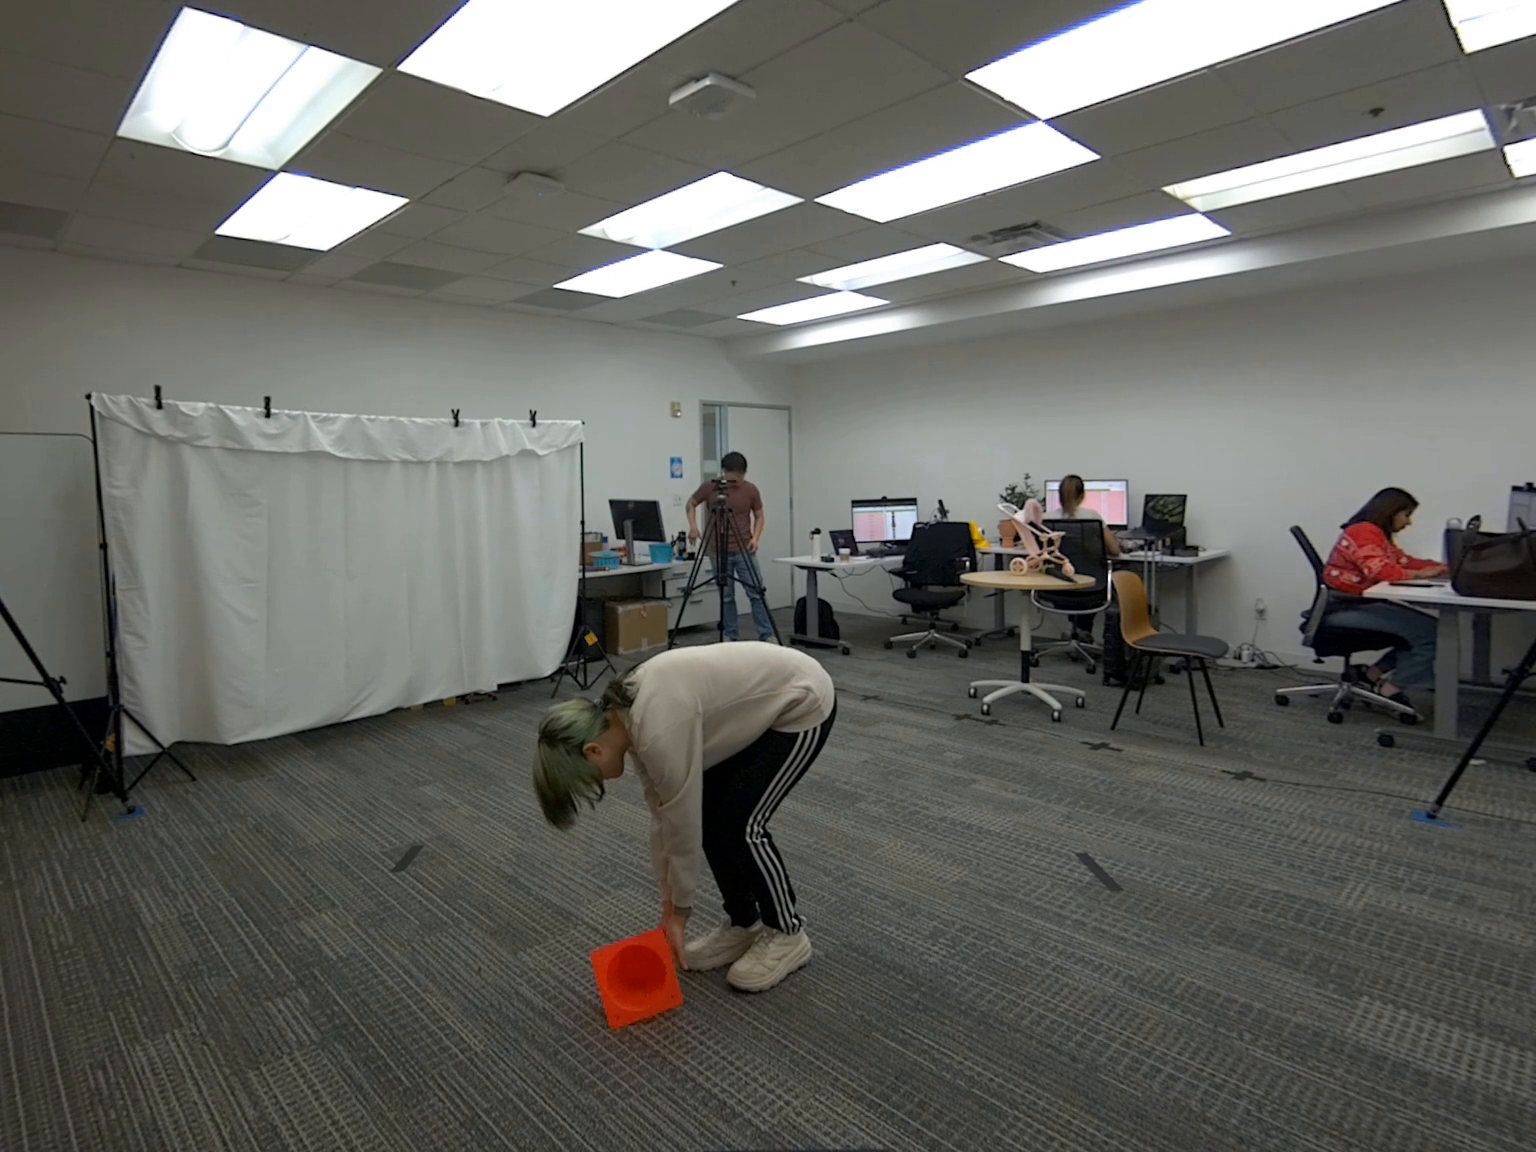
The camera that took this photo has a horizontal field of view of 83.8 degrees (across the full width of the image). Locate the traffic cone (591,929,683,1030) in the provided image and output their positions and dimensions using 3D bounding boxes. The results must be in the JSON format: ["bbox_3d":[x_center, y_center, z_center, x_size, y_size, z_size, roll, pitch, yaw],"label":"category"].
[{"bbox_3d":[-0.360,1.087,2.398,0.203,0.206,0.381,-15,-11,-11],"label":"traffic cone"}]
